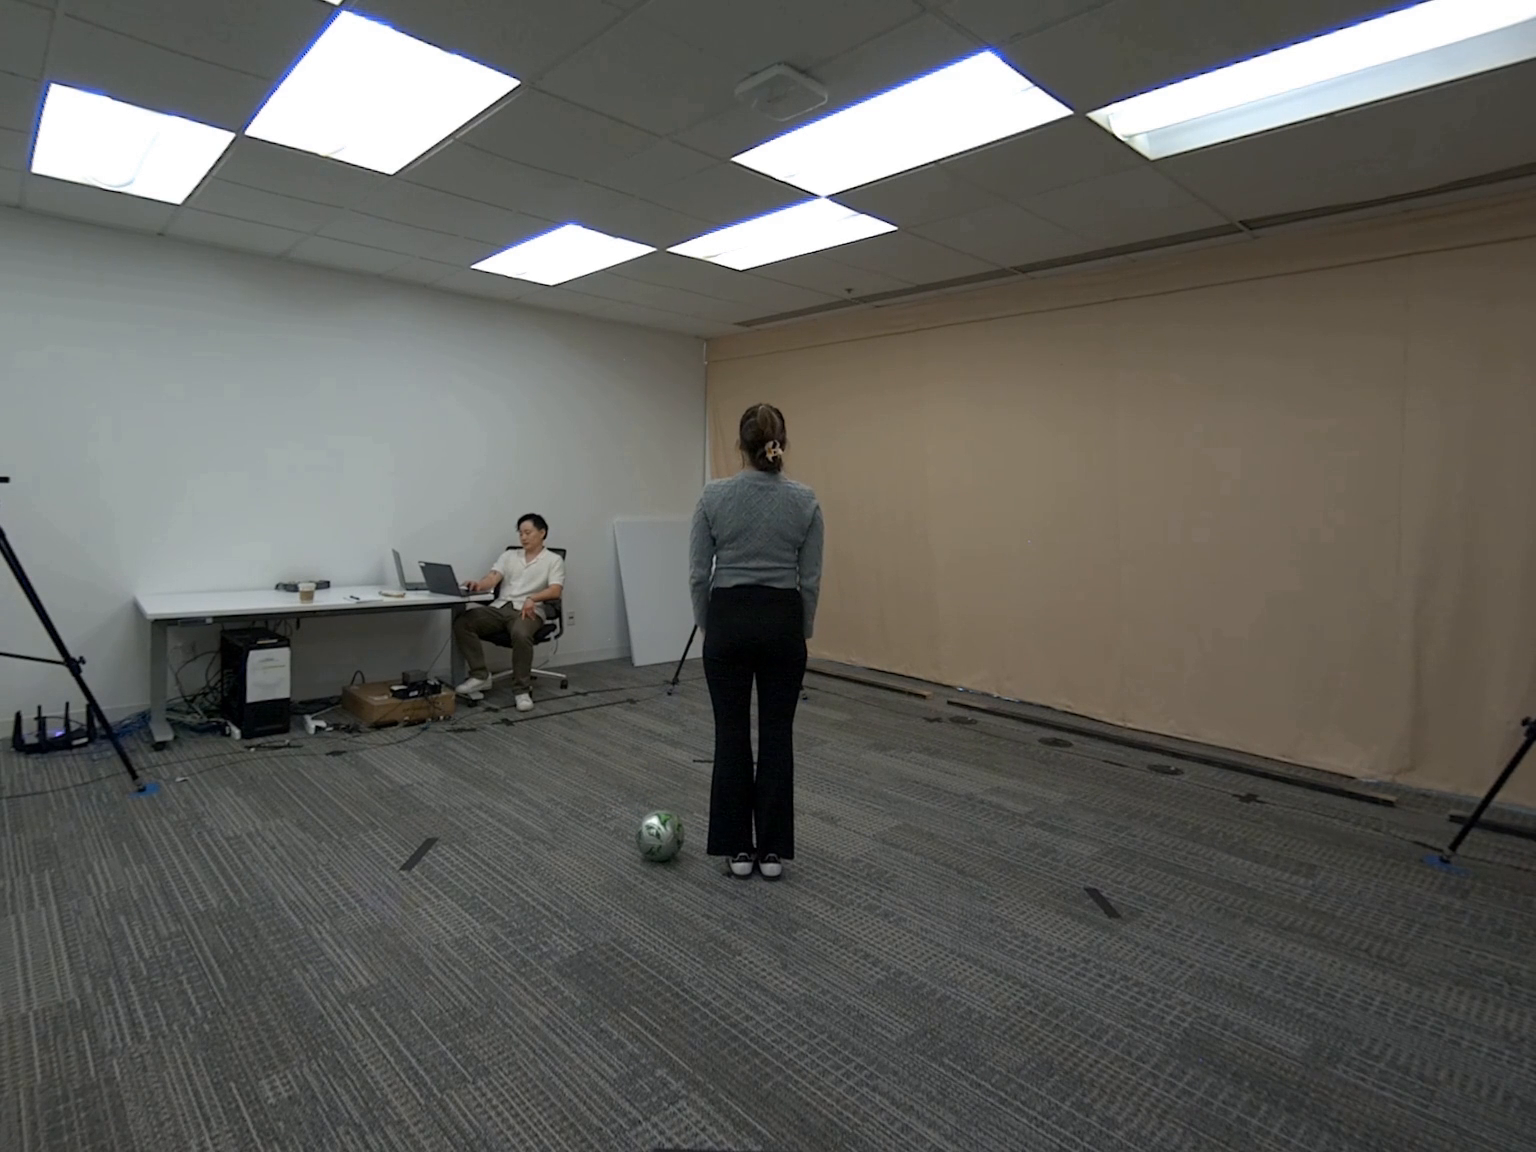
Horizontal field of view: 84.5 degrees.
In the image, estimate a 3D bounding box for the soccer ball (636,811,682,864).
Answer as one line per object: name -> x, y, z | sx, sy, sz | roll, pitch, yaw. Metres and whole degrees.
soccer ball -> -0.422, 0.989, 3.217 | 0.187, 0.187, 0.188 | 1, 4, -1
